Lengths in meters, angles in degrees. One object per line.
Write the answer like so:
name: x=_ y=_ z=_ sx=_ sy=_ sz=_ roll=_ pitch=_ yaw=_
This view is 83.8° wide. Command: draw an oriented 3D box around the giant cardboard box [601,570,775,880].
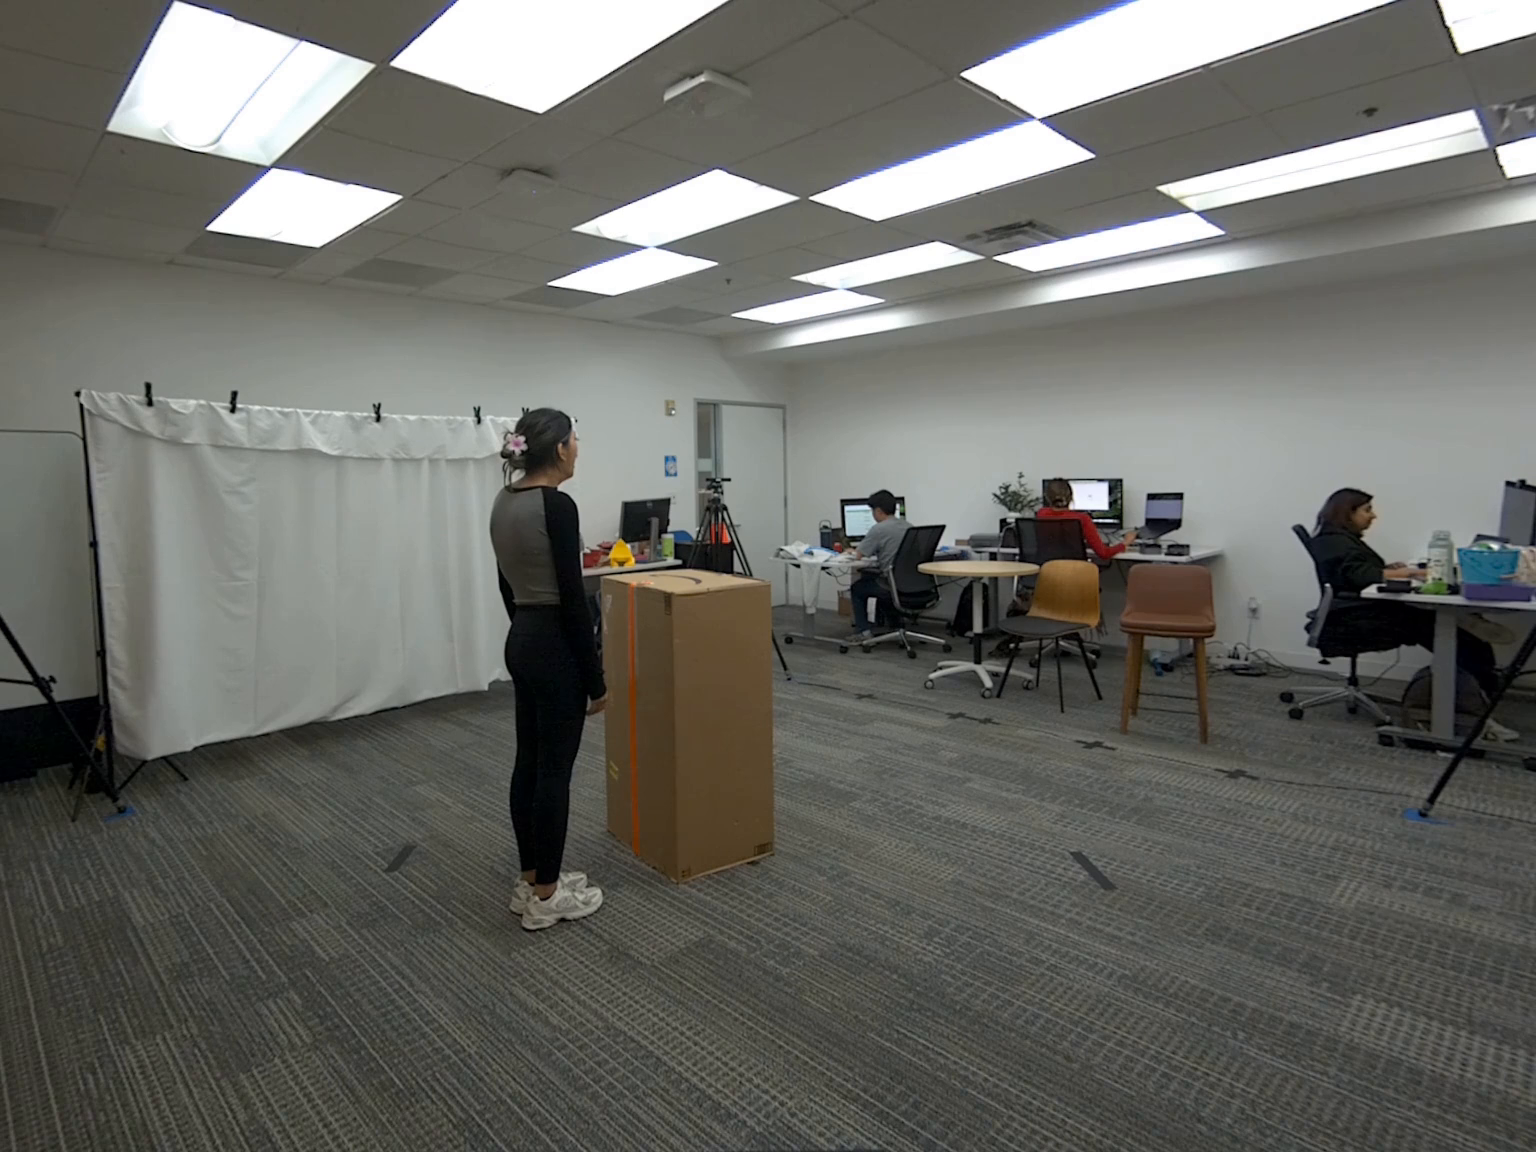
giant cardboard box: x=-0.318 y=0.521 z=3.265 sx=0.435 sy=1.023 sz=0.601 roll=-3 pitch=5 yaw=-35
